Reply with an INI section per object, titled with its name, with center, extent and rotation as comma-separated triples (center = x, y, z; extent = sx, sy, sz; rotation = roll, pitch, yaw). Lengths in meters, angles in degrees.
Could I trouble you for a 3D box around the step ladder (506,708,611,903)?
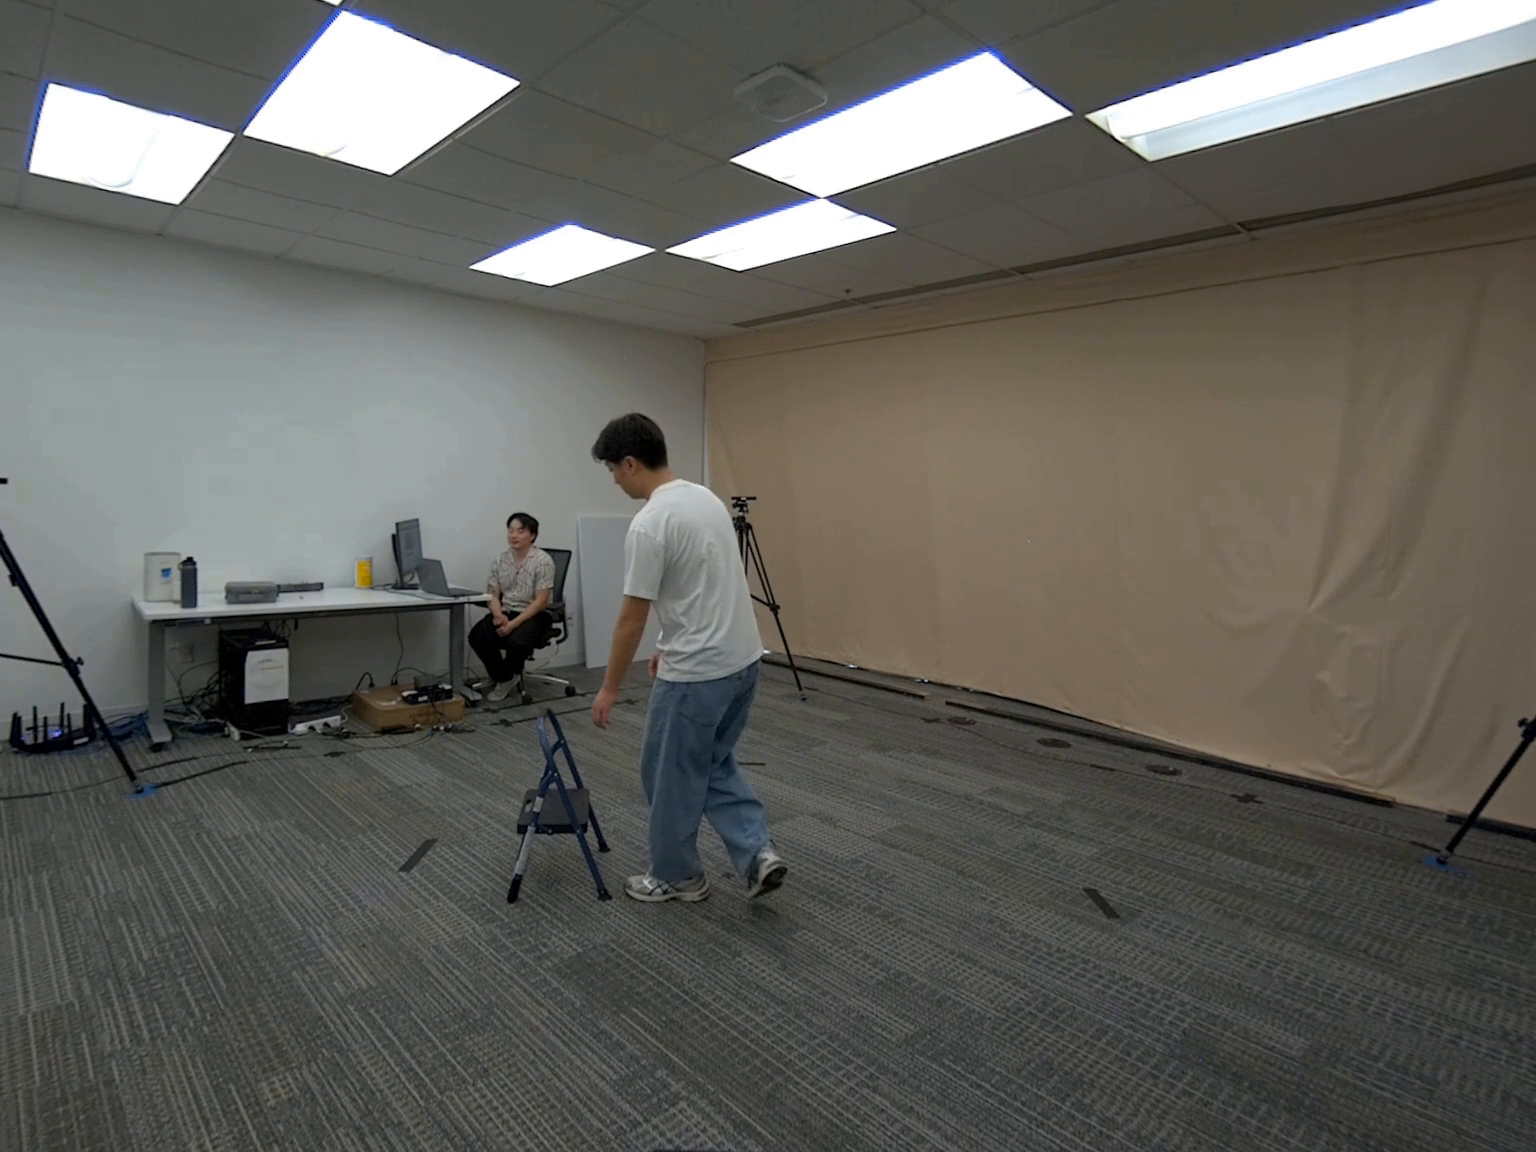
[step ladder]
center = -0.751, 0.795, 3.068
extent = 0.346, 0.605, 0.435
rotation = 1, 3, -11
